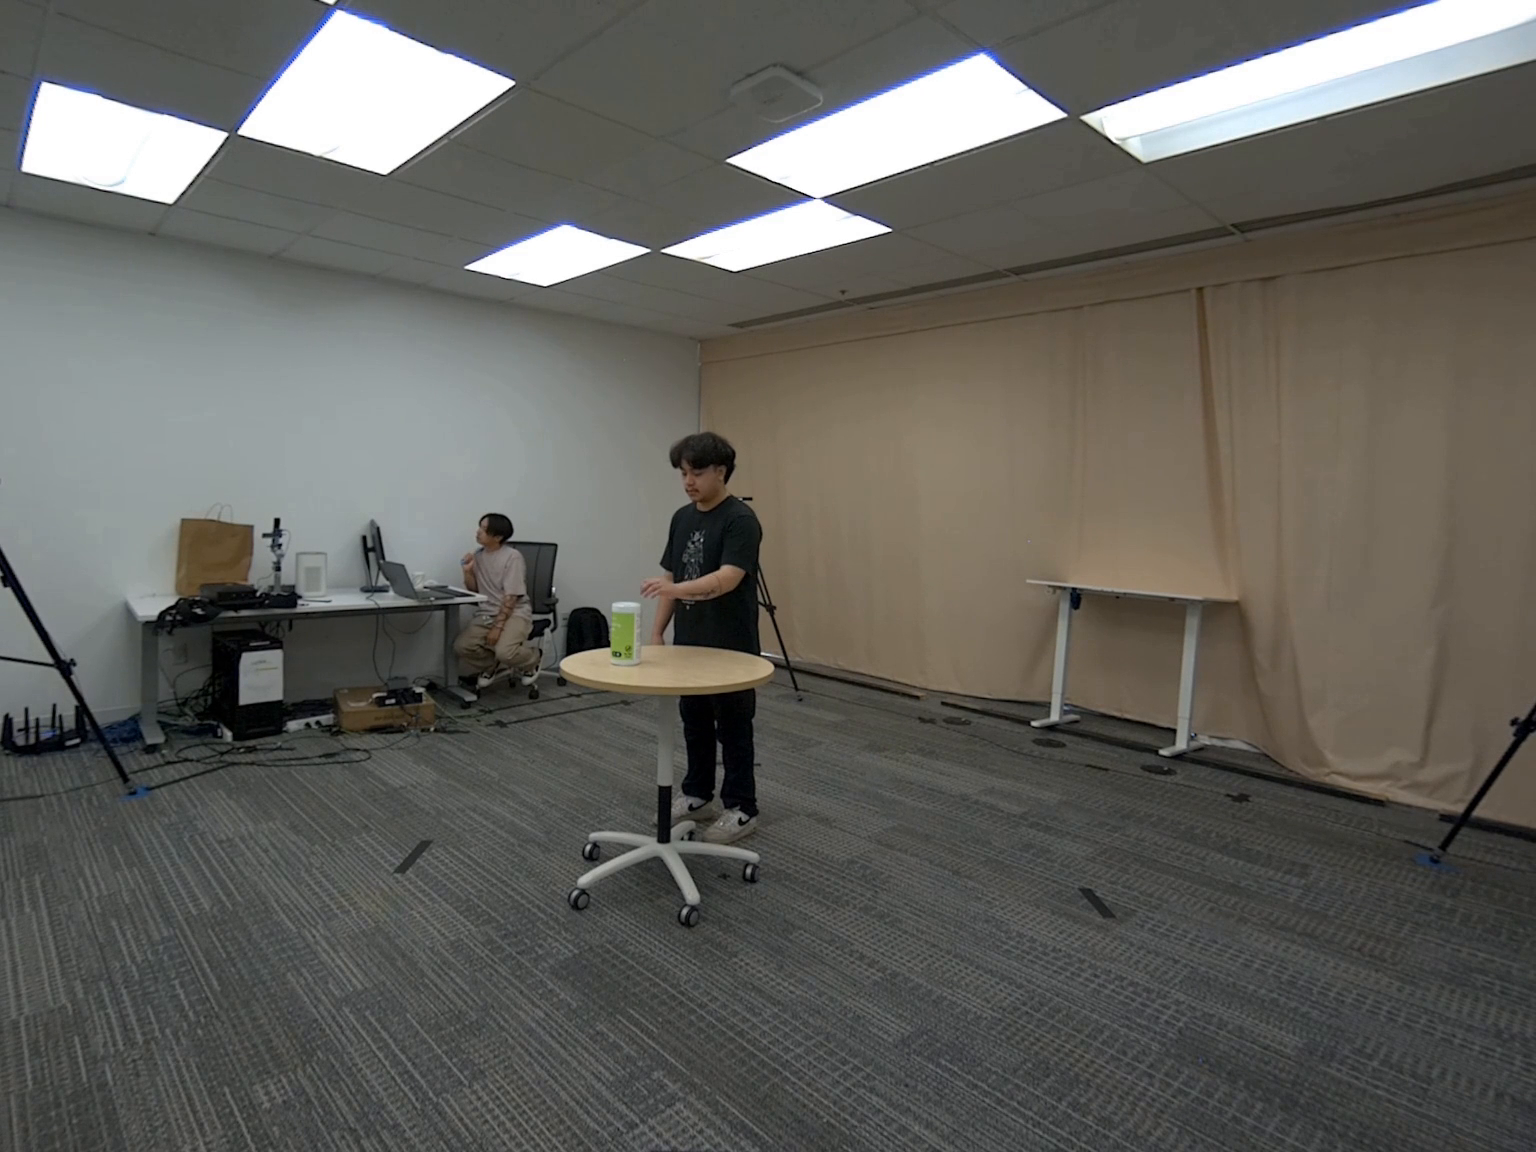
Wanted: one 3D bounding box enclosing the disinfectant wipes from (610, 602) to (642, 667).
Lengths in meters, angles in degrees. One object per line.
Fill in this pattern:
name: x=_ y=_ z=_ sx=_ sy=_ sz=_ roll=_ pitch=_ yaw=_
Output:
disinfectant wipes: x=-0.513 y=0.205 z=3.007 sx=0.118 sy=0.217 sz=0.118 roll=2 pitch=5 yaw=-2
